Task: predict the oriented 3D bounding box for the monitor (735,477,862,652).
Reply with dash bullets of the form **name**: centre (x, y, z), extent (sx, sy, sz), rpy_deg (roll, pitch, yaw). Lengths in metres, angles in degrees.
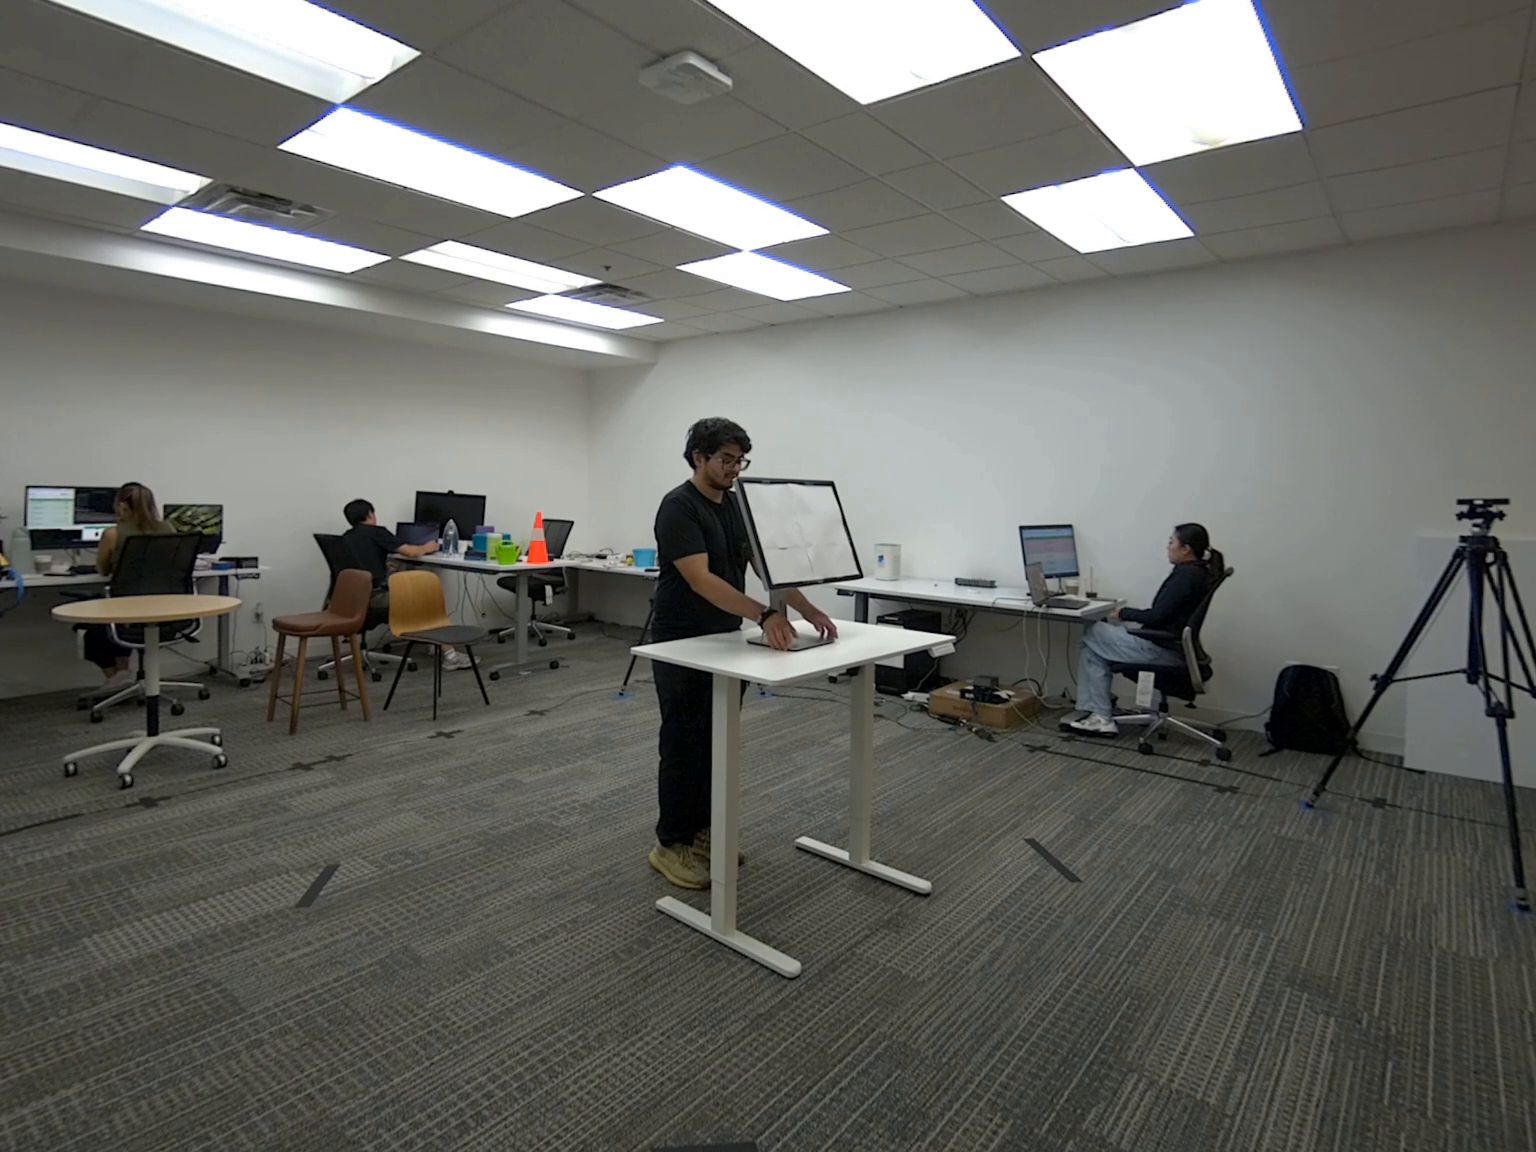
- **monitor**: centre (0.055, -0.047, 2.829), extent (0.215, 0.557, 0.549), rpy_deg (-13, -5, 36)
